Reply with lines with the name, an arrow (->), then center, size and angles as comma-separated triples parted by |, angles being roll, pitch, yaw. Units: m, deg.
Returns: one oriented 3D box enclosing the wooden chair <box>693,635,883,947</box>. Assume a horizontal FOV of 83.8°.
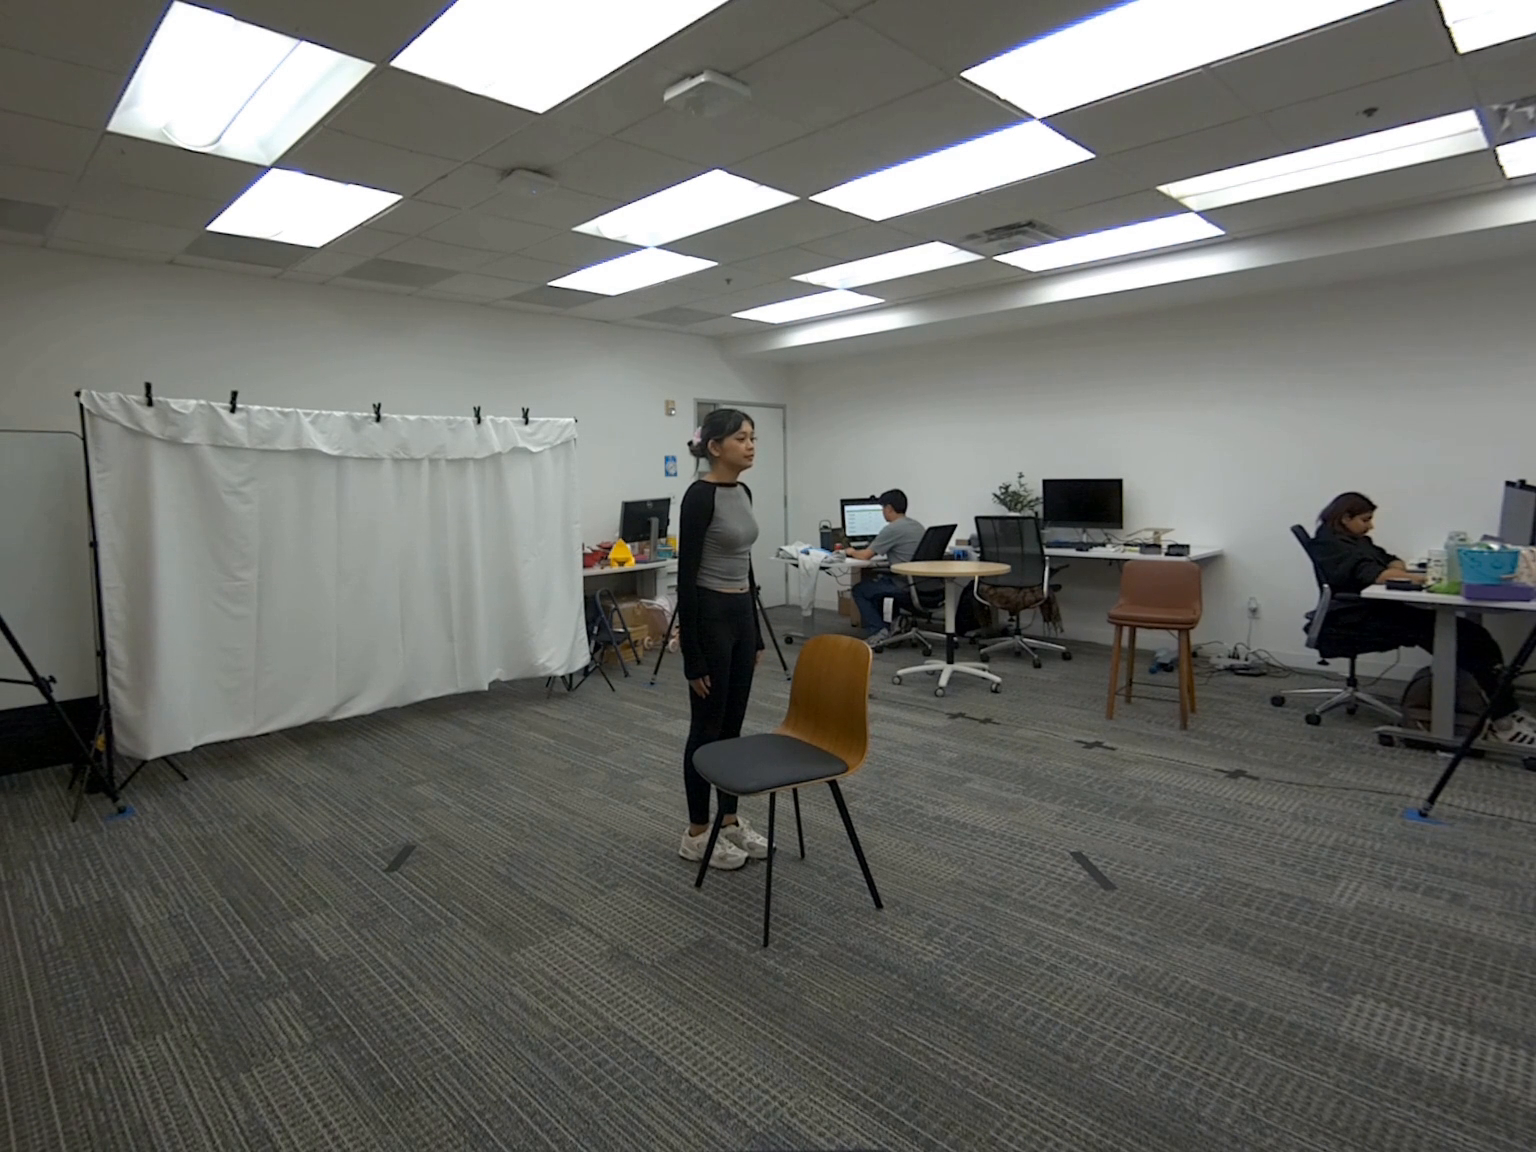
wooden chair -> 0.052, 0.646, 2.801 | 0.509, 0.876, 0.492 | 1, 3, -32
